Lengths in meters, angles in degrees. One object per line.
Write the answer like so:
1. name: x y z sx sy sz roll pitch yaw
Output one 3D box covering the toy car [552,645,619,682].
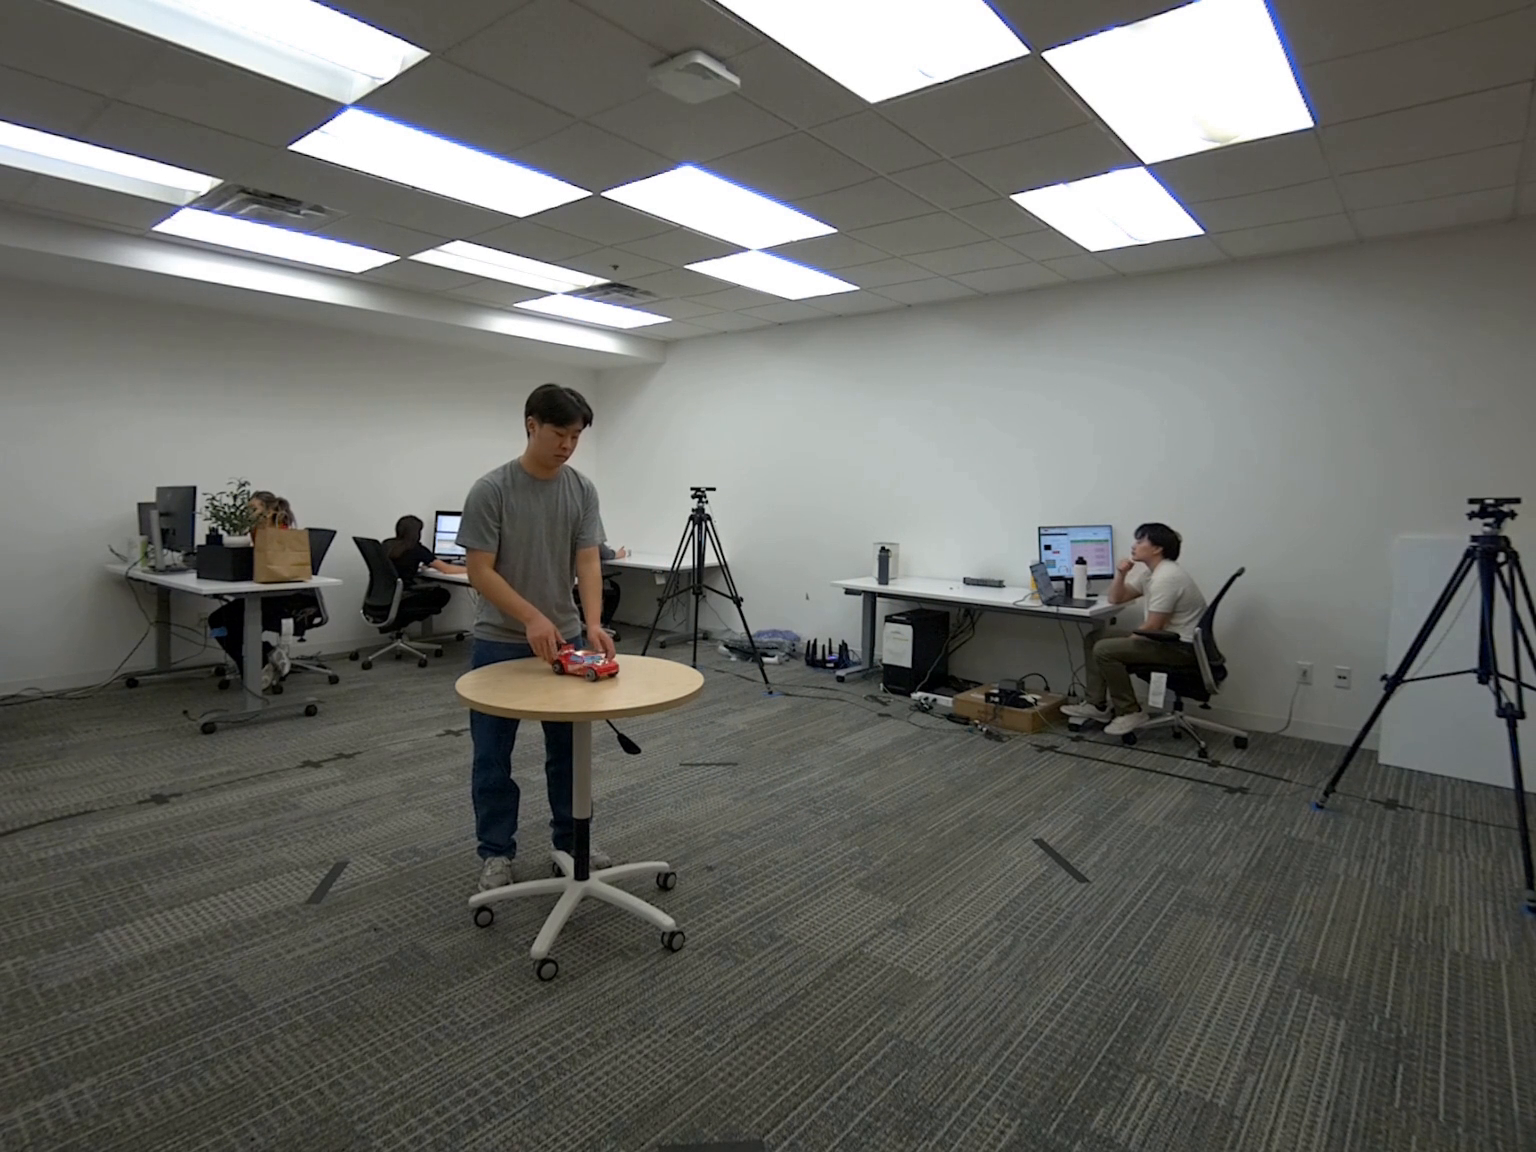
1. toy car: -0.613 0.284 2.727 0.264 0.082 0.127 17 13 32
